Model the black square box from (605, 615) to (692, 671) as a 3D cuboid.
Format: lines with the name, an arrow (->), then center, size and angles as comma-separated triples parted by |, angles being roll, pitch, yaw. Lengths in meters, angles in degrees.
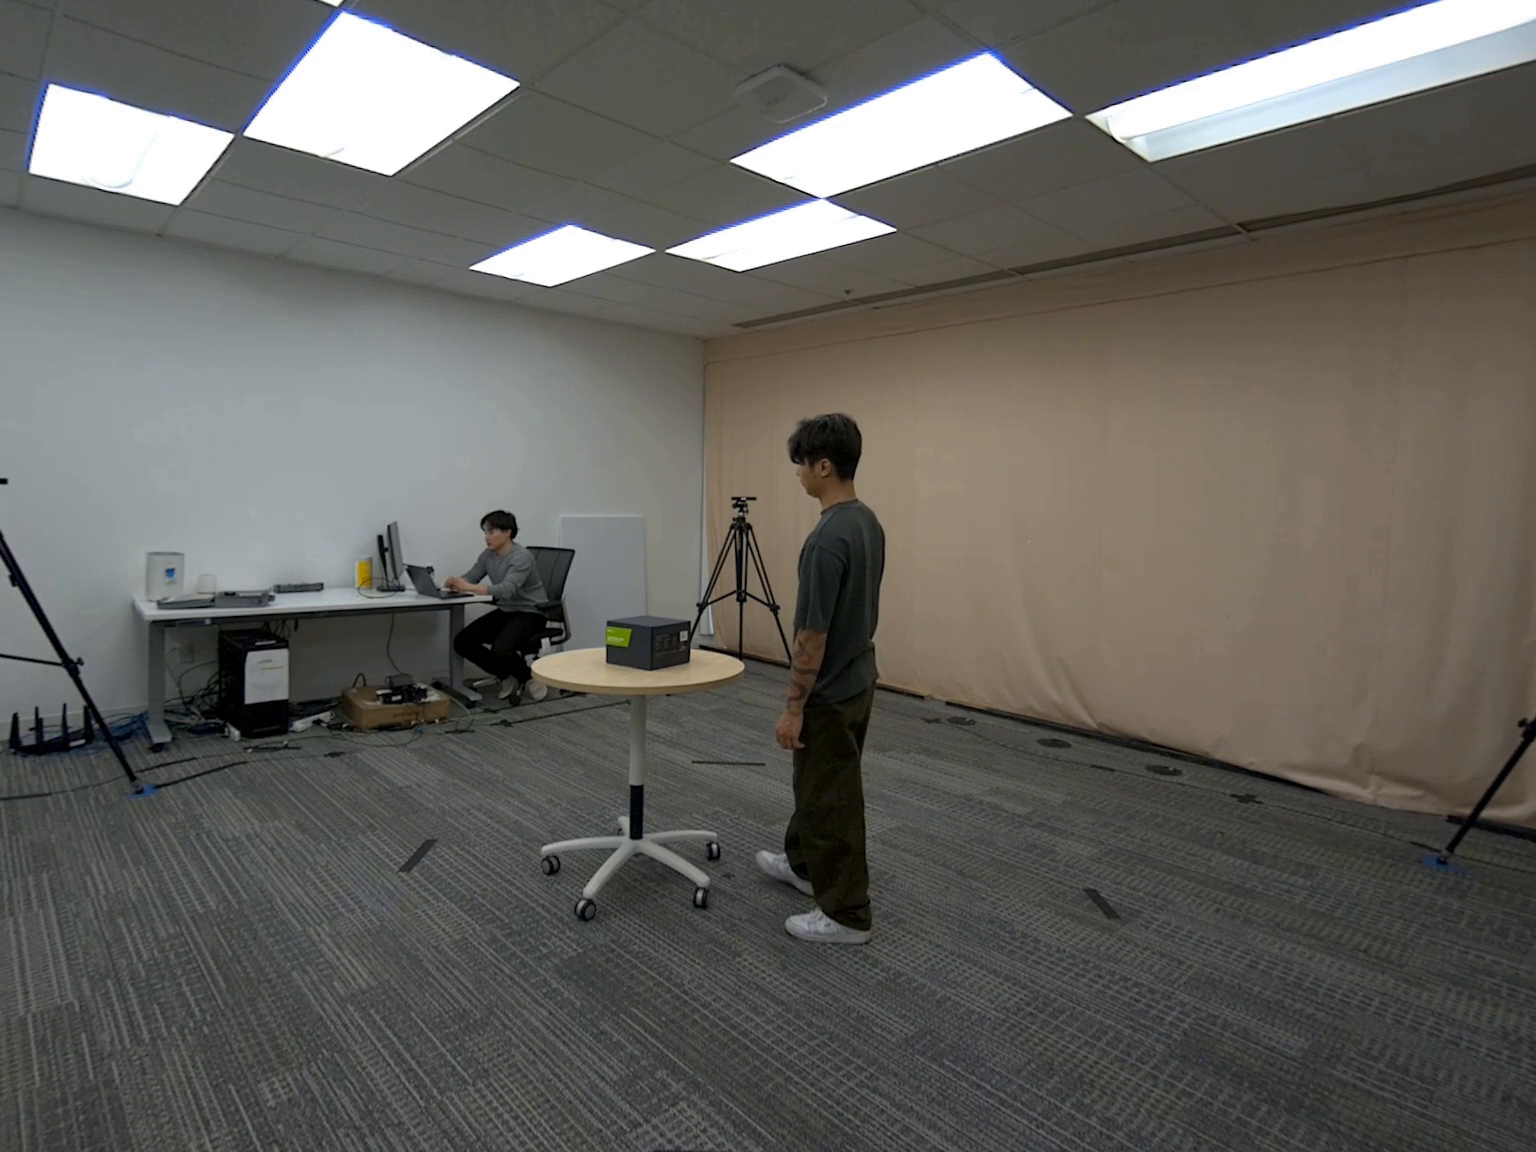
black square box -> -0.445, 0.239, 3.076 | 0.233, 0.155, 0.212 | 4, 5, 35
